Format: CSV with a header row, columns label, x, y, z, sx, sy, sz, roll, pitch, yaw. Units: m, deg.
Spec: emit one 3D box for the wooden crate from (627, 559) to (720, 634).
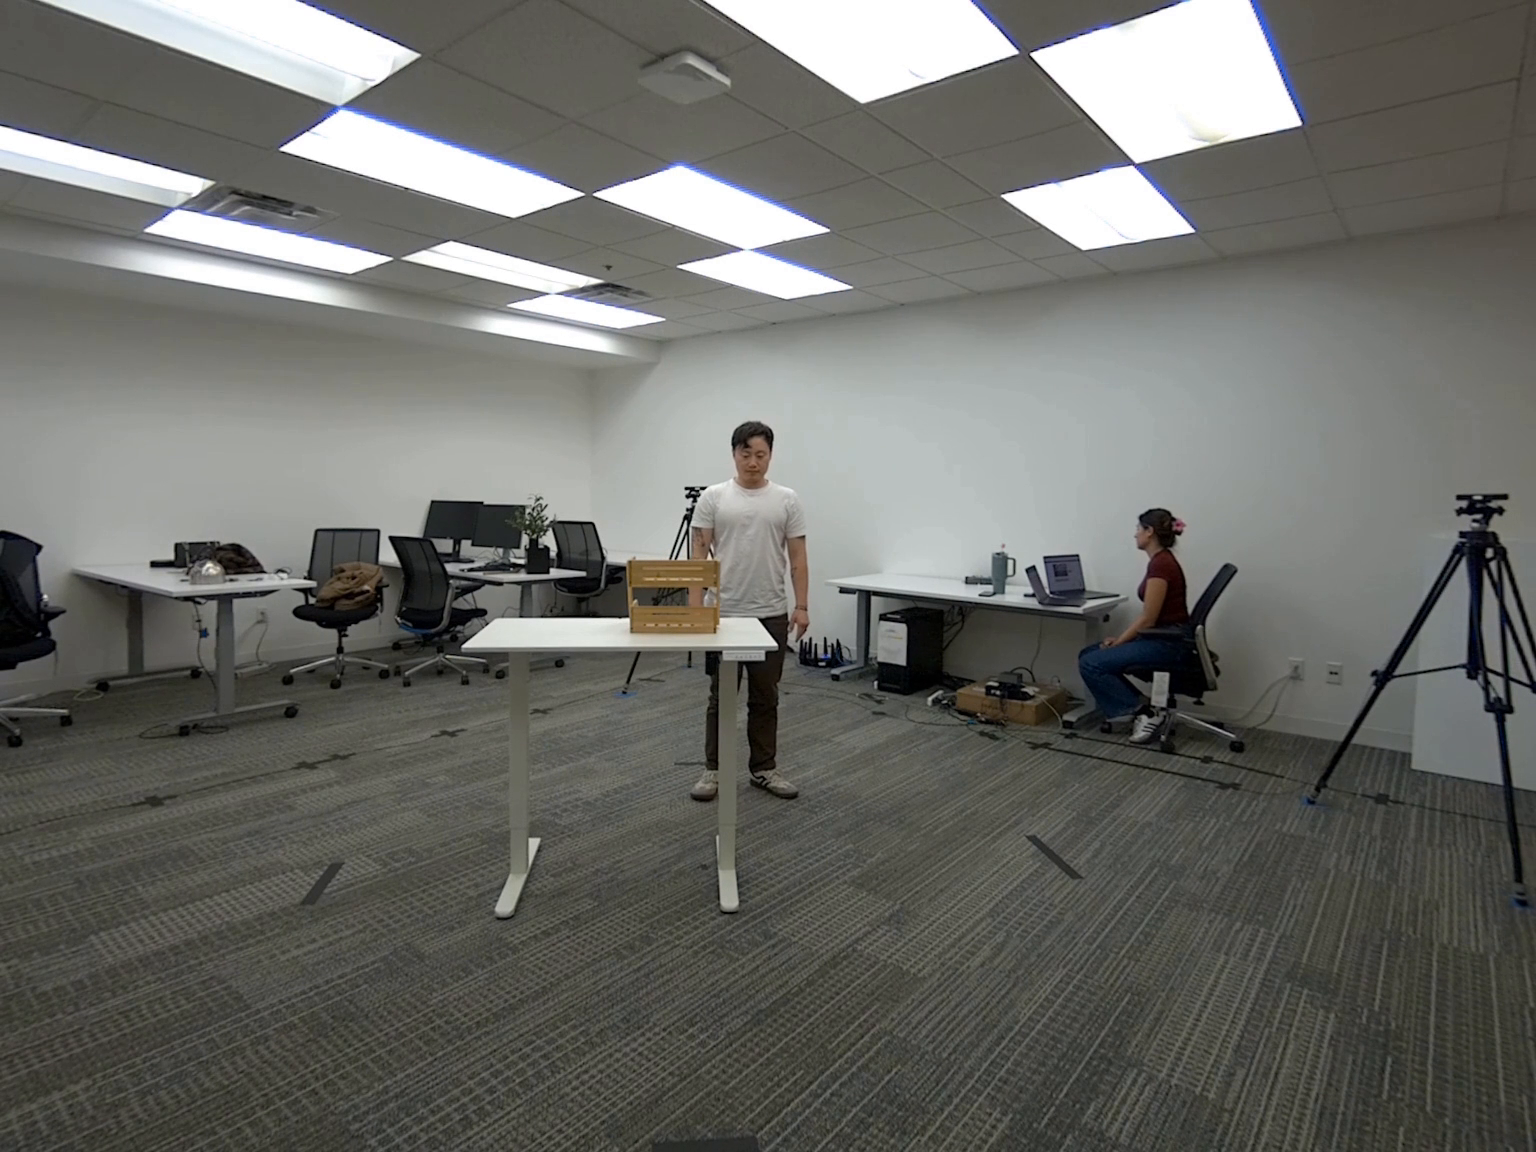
label,x,y,z,sx,sy,sz,roll,pitch,yaw
wooden crate,-0.350,0.054,3.050,0.324,0.272,0.304,0,7,-1
